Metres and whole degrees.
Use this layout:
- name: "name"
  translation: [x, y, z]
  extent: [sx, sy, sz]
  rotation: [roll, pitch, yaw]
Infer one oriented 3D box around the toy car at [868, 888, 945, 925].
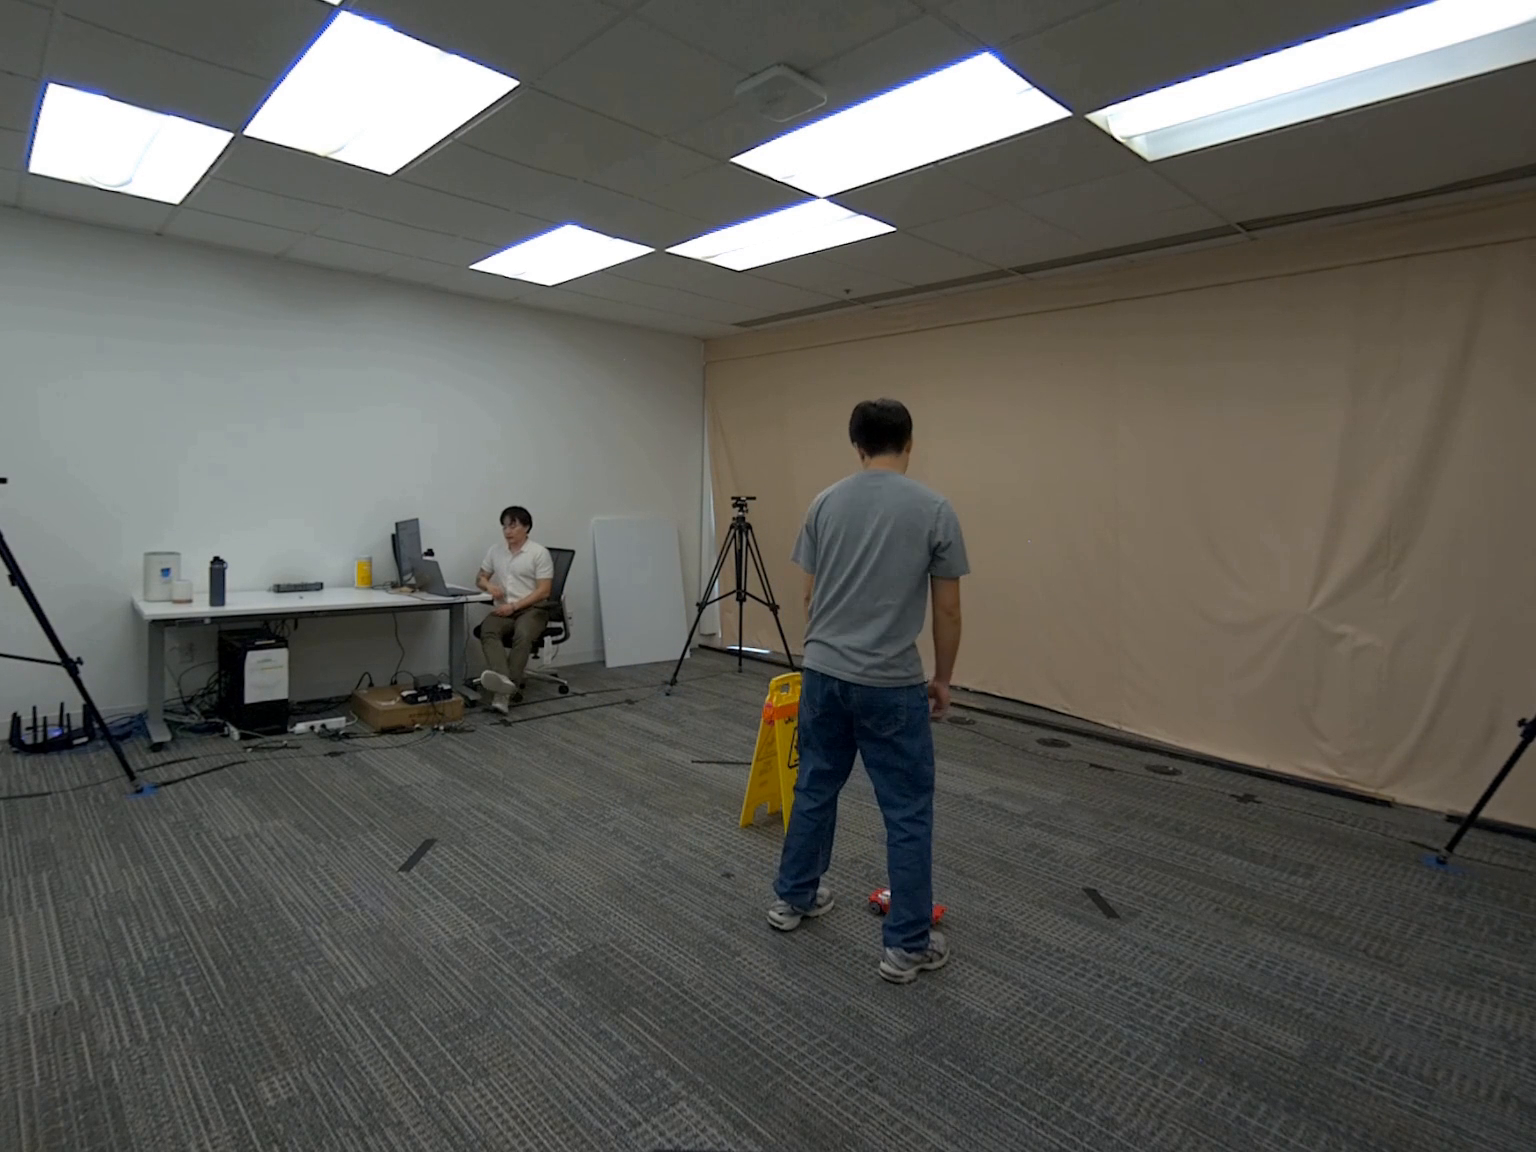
- name: "toy car"
  translation: [0.471, 1.117, 2.823]
  extent: [0.259, 0.083, 0.127]
  rotation: [-8, -2, 34]
